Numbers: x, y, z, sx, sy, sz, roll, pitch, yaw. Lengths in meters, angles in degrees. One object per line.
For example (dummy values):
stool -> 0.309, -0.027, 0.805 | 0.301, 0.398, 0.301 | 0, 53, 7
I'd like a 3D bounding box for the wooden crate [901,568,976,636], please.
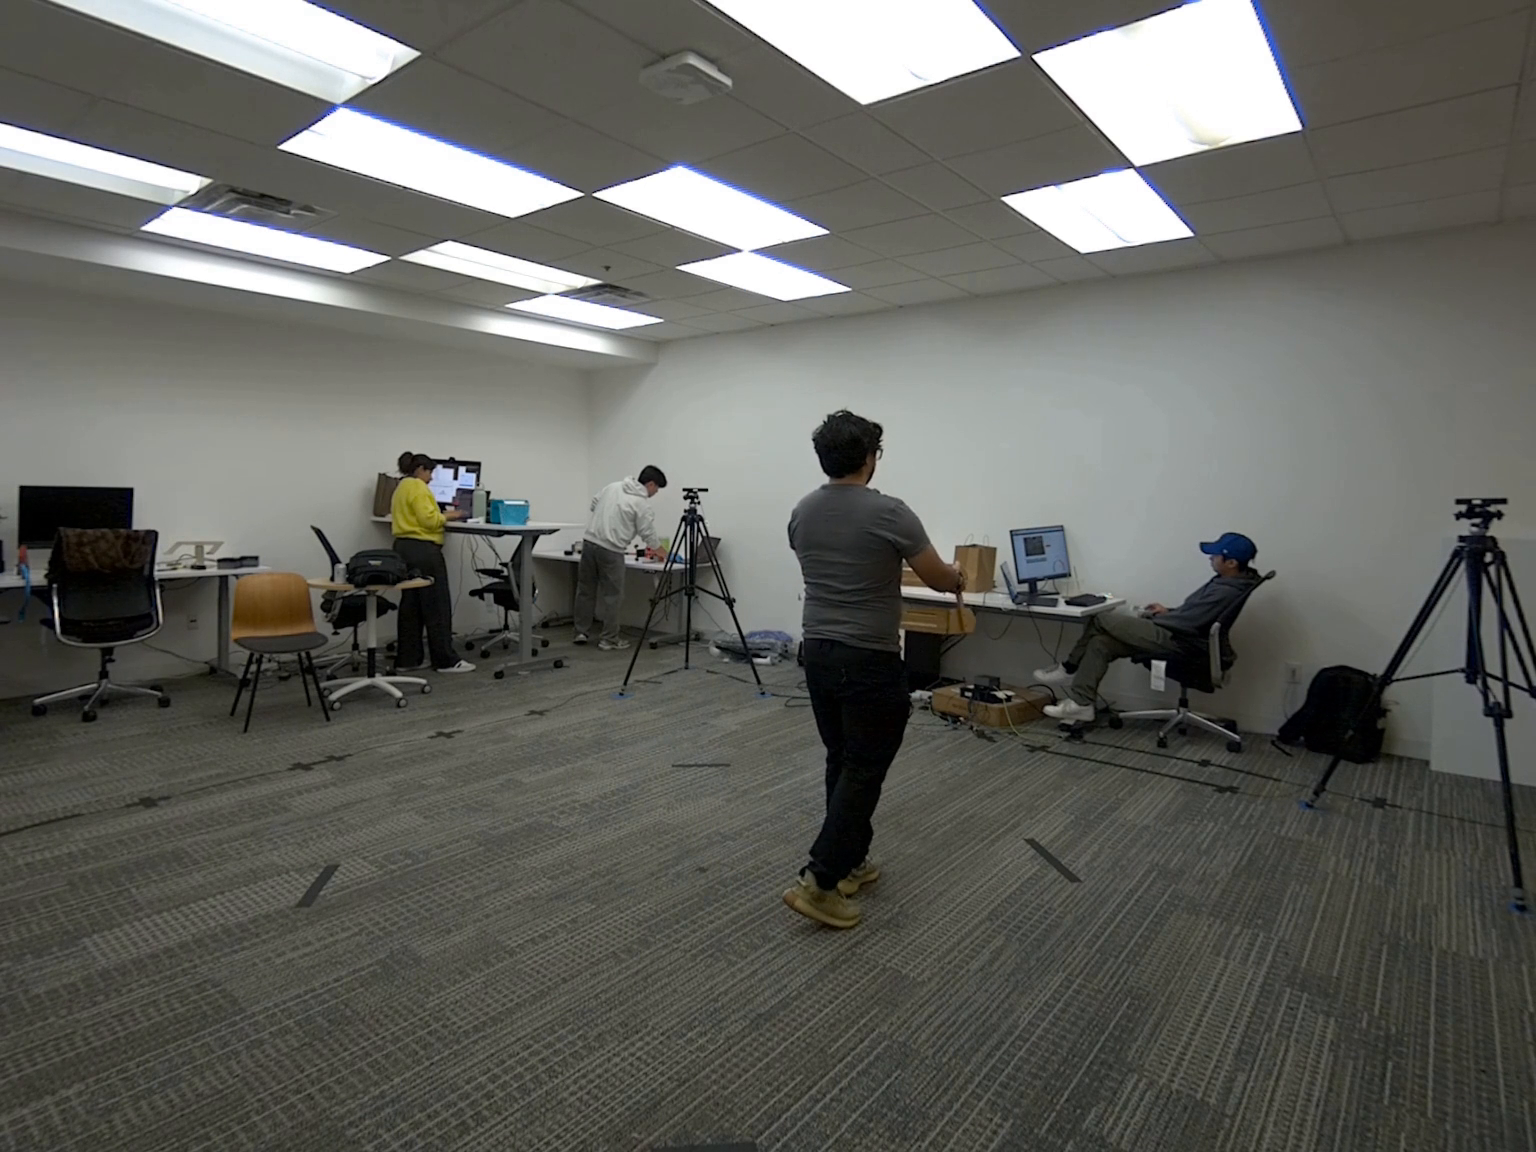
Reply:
wooden crate -> 0.585, 0.070, 3.291 | 0.334, 0.273, 0.293 | 2, 1, 35
